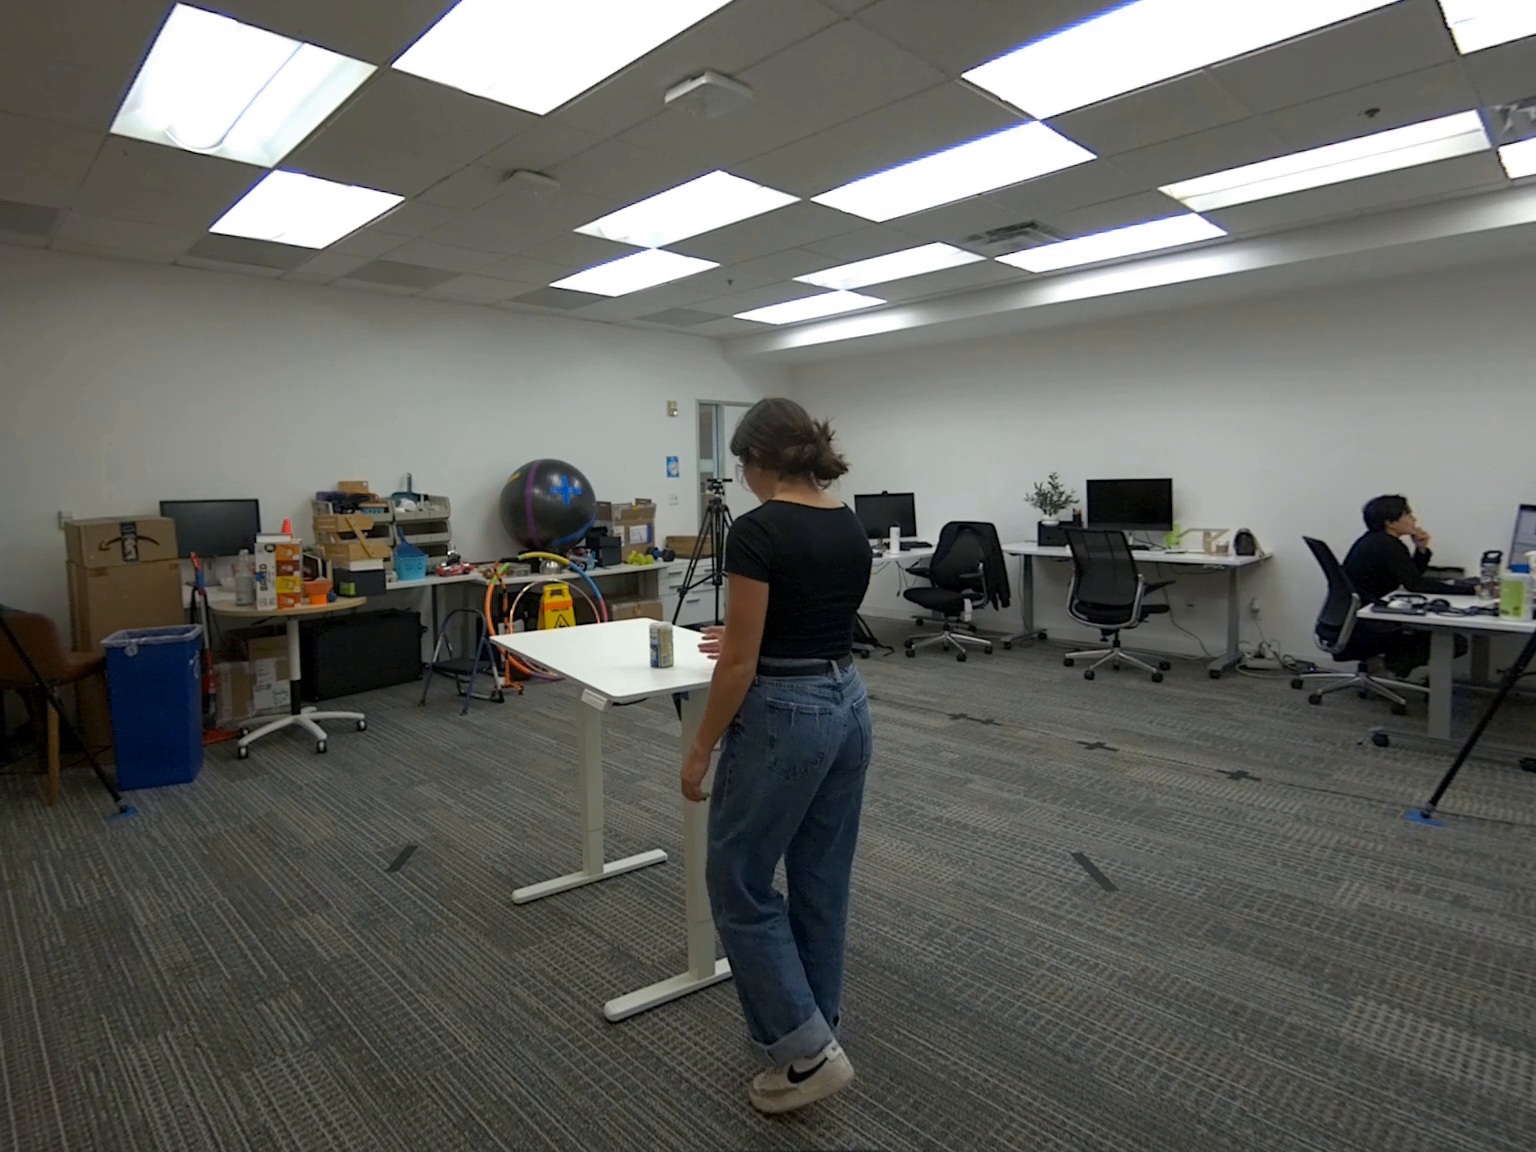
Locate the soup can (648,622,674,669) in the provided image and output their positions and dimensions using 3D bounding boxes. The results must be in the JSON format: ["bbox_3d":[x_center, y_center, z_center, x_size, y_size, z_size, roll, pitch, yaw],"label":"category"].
[{"bbox_3d":[-0.294,0.194,2.378,0.067,0.121,0.067,-2,1,-2],"label":"soup can"}]
